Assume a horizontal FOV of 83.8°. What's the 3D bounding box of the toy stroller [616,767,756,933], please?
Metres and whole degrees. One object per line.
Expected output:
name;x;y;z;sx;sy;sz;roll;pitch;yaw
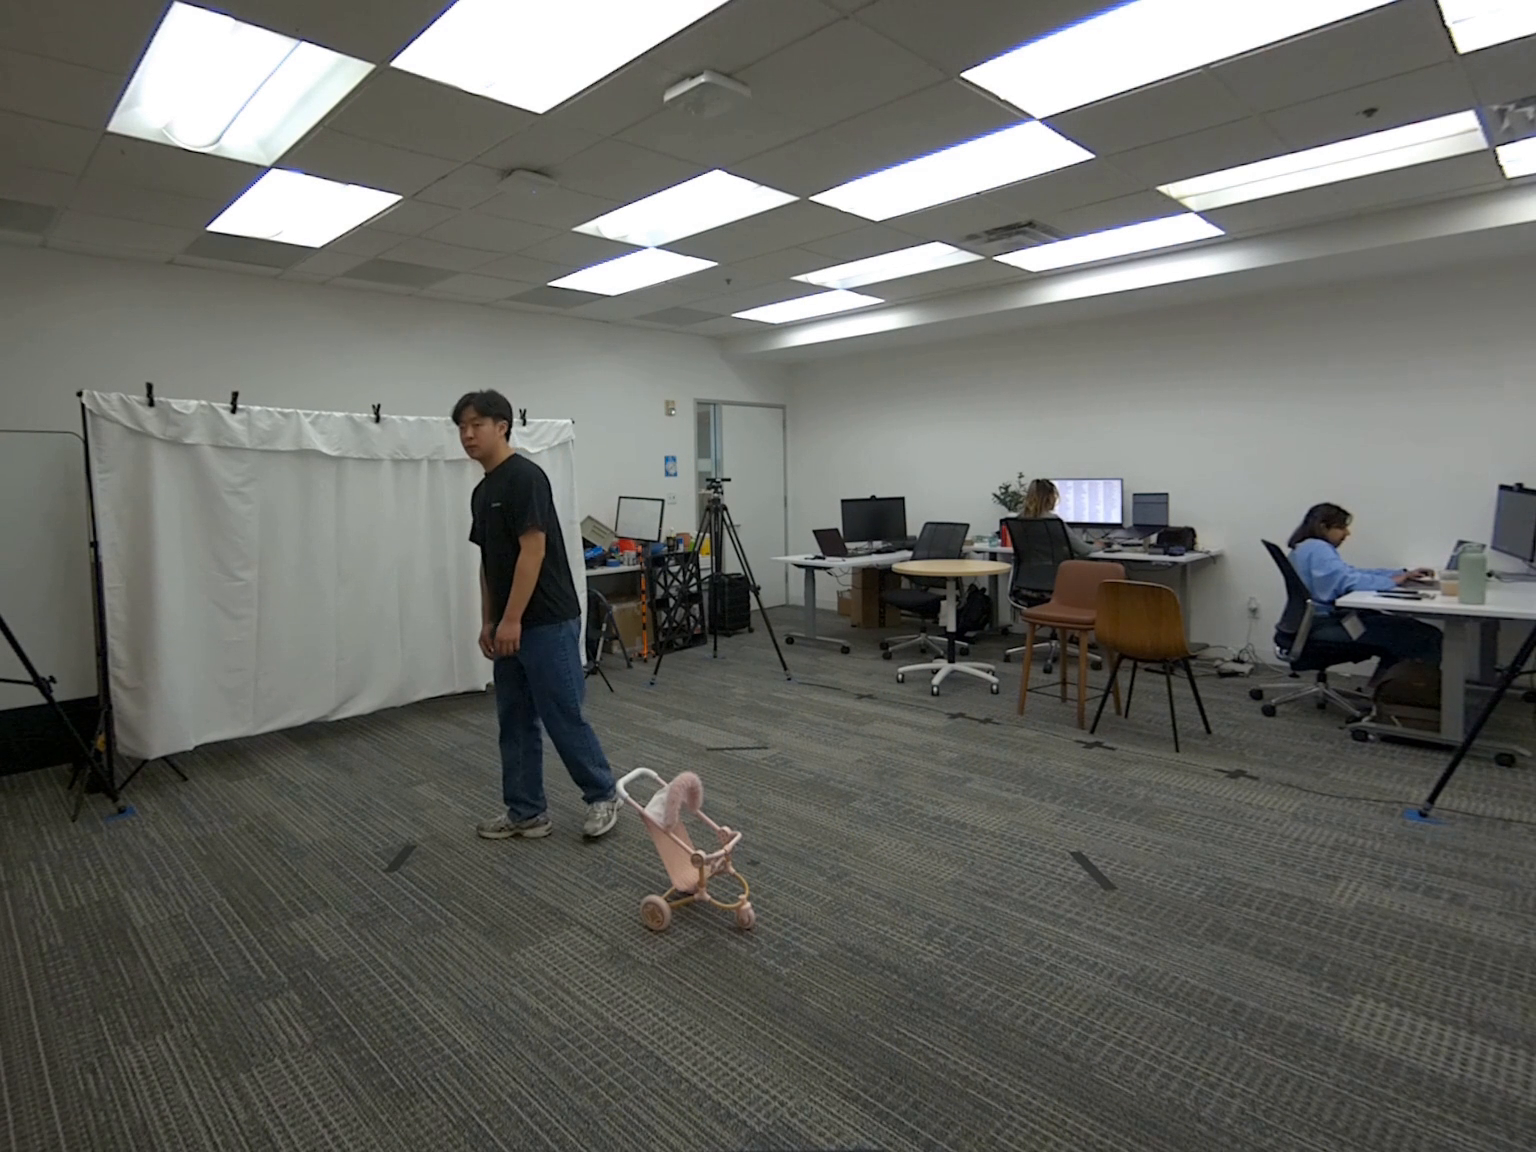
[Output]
toy stroller;-0.243;0.866;2.723;0.347;0.537;0.275;-17;-4;29
